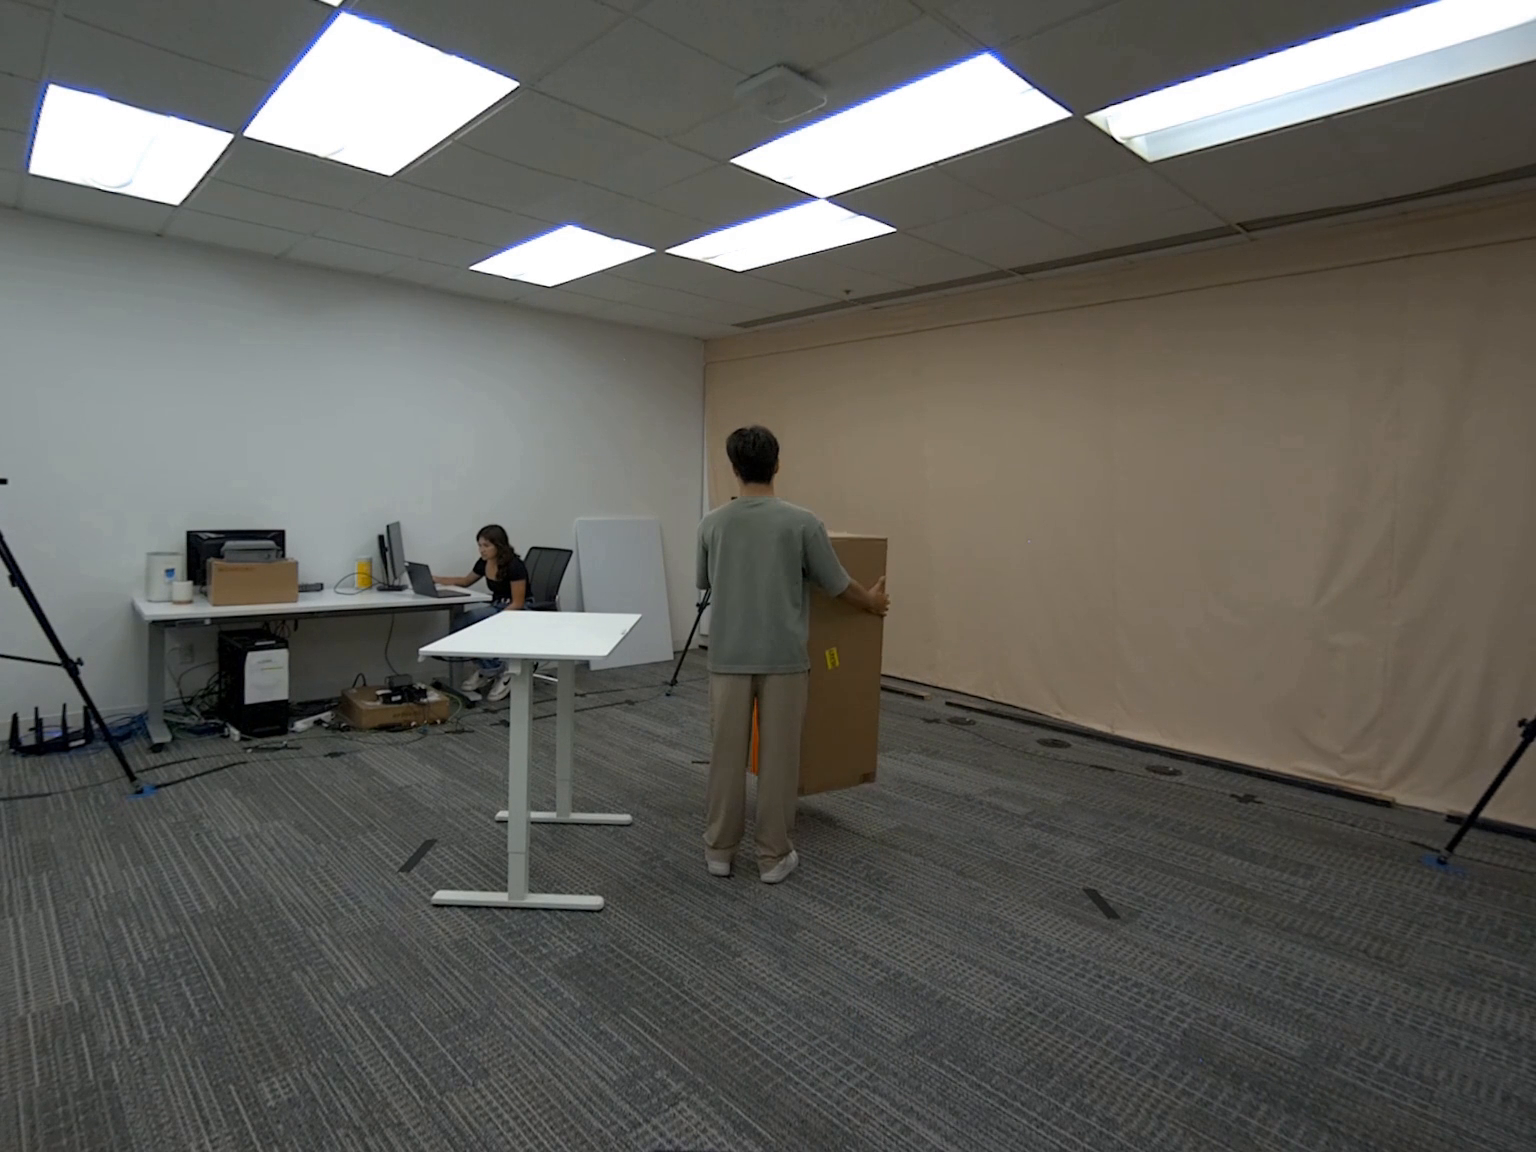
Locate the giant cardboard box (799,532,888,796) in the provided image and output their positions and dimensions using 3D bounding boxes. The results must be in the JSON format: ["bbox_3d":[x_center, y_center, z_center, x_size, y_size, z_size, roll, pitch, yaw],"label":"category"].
[{"bbox_3d":[0.136,0.320,3.586,0.417,1.022,0.591,-1,6,-31],"label":"giant cardboard box"}]
